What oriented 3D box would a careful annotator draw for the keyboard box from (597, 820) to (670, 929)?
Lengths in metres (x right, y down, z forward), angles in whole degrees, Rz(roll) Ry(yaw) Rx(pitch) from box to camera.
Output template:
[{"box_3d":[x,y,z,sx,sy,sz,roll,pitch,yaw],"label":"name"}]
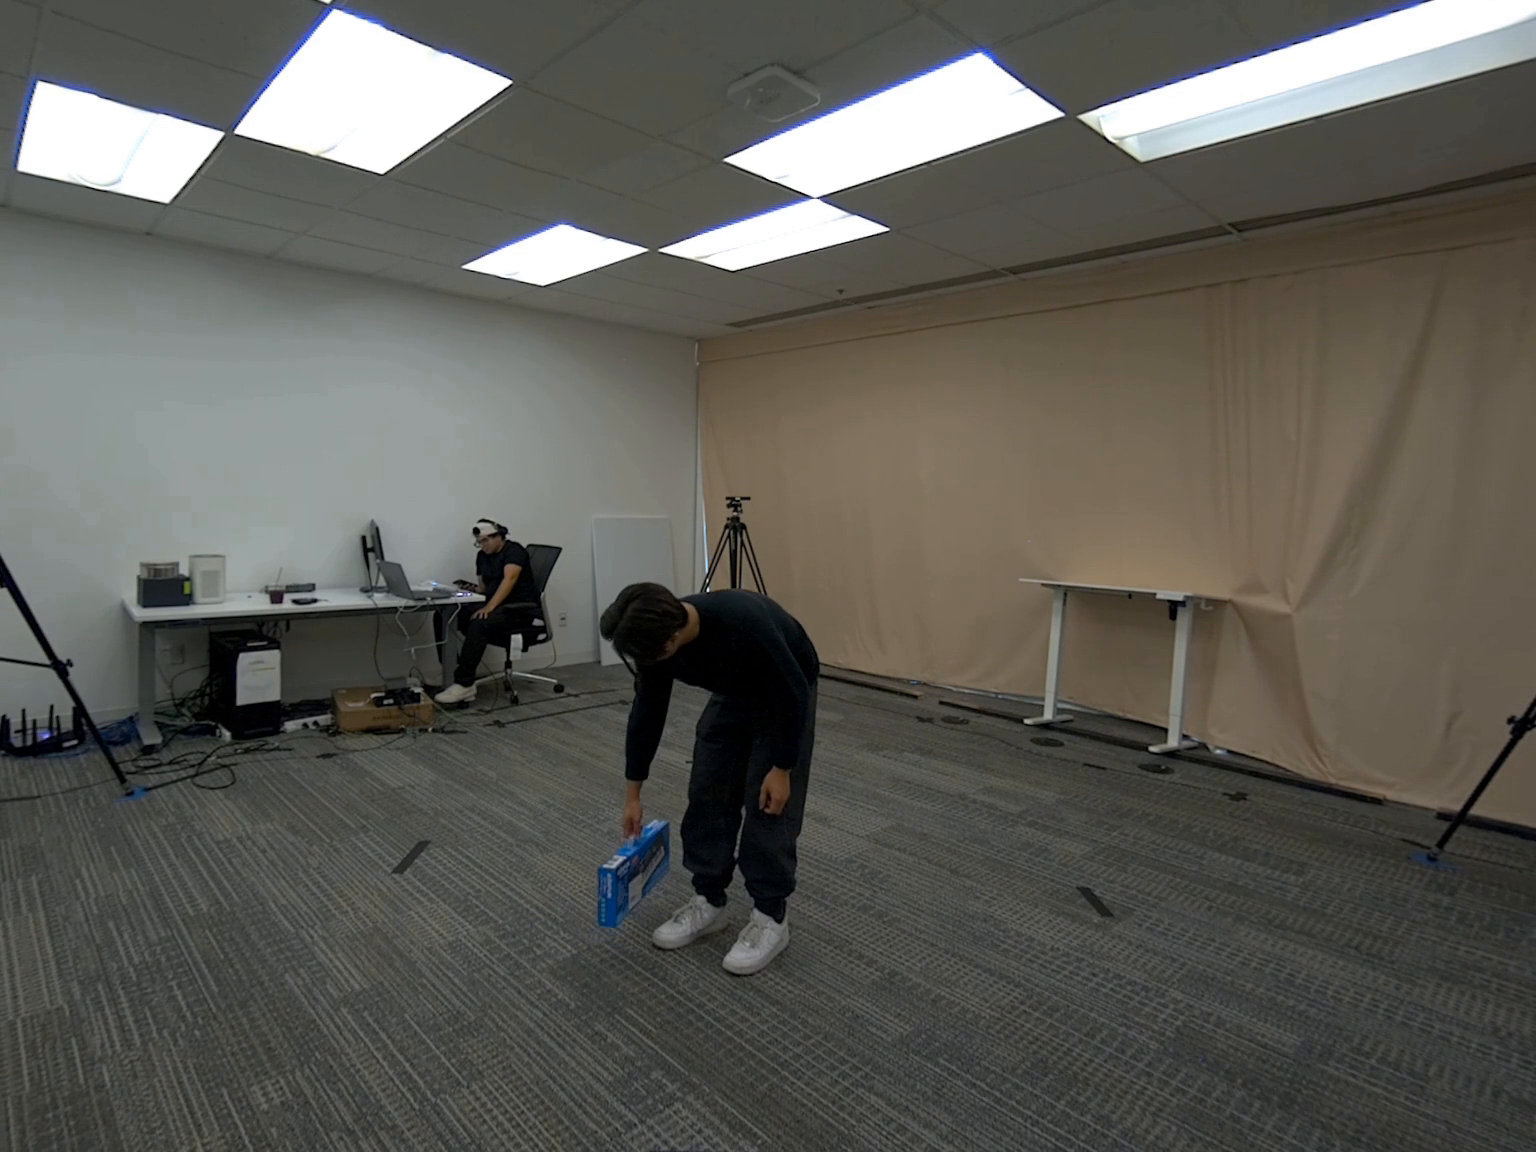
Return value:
[{"box_3d":[-0.423,0.930,2.673,0.060,0.176,0.431,0,2,15],"label":"keyboard box"}]
